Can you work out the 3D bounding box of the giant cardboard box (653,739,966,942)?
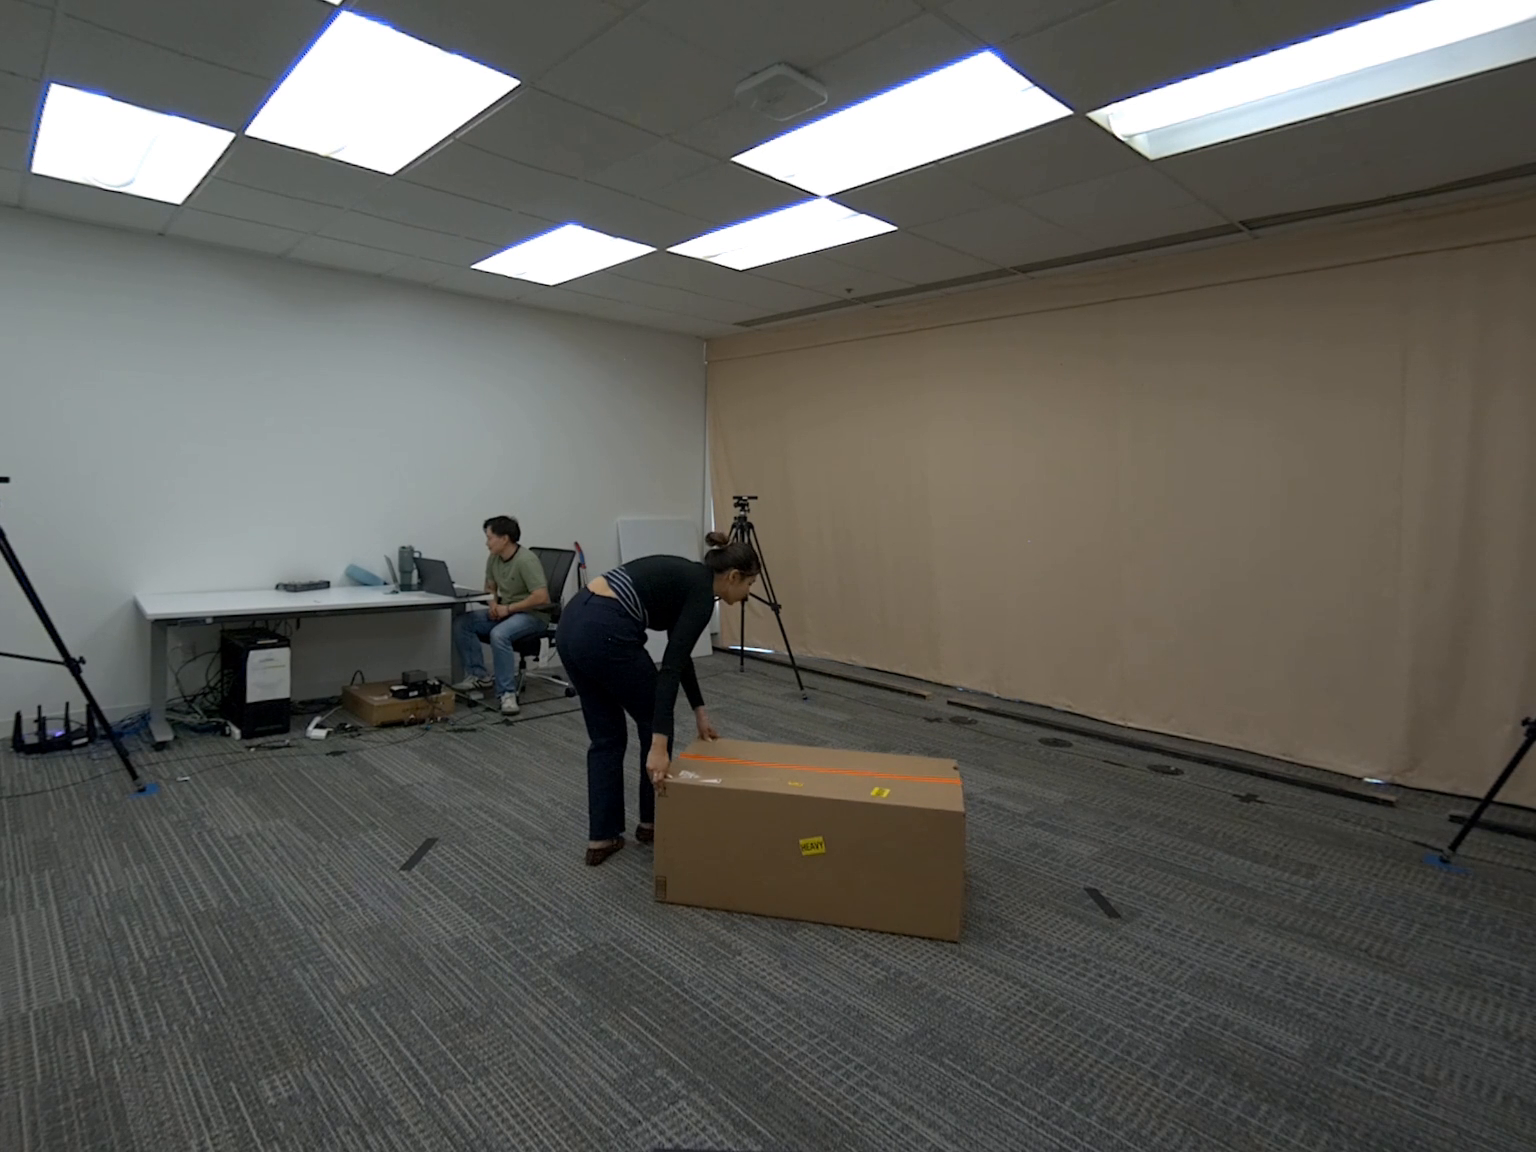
[{"bbox_3d":[0.160,0.900,3.033,1.036,0.425,0.573,2,5,12],"label":"giant cardboard box"}]
